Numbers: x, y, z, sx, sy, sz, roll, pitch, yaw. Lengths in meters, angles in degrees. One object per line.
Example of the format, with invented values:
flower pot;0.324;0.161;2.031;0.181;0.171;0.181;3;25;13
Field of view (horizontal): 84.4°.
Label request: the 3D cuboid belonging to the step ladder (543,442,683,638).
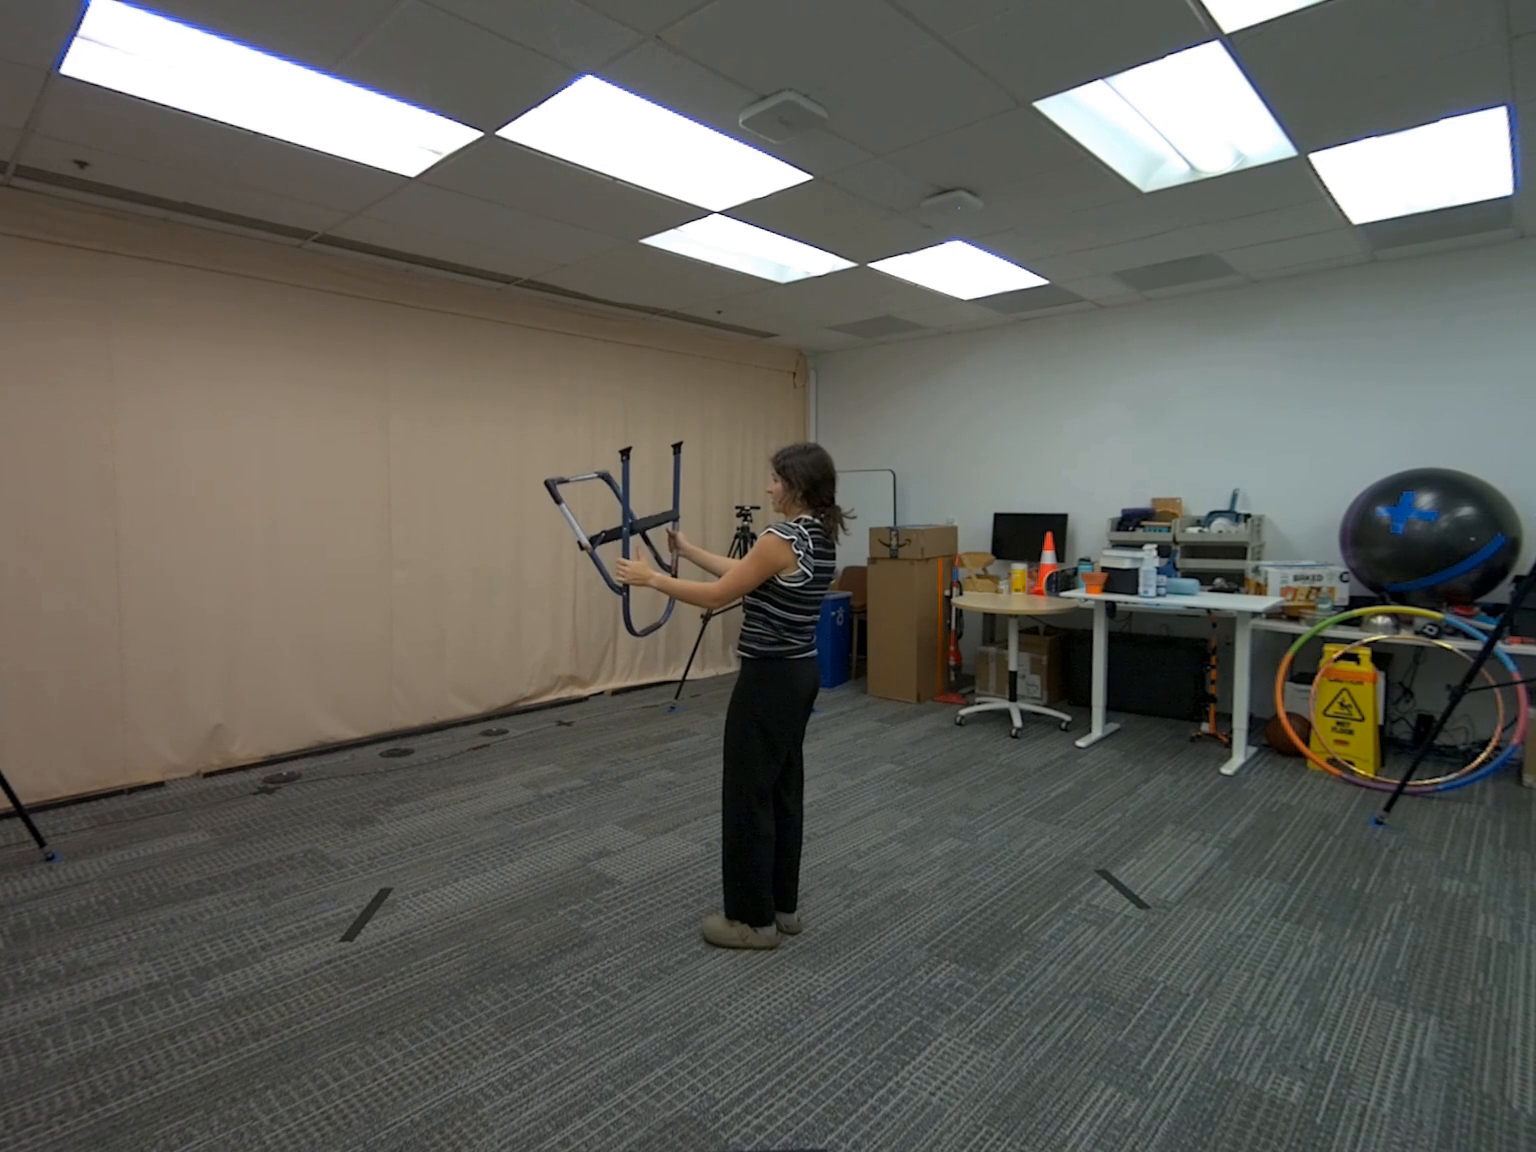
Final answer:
step ladder;-0.429;-0.103;2.912;0.356;0.605;0.423;-18;3;24
